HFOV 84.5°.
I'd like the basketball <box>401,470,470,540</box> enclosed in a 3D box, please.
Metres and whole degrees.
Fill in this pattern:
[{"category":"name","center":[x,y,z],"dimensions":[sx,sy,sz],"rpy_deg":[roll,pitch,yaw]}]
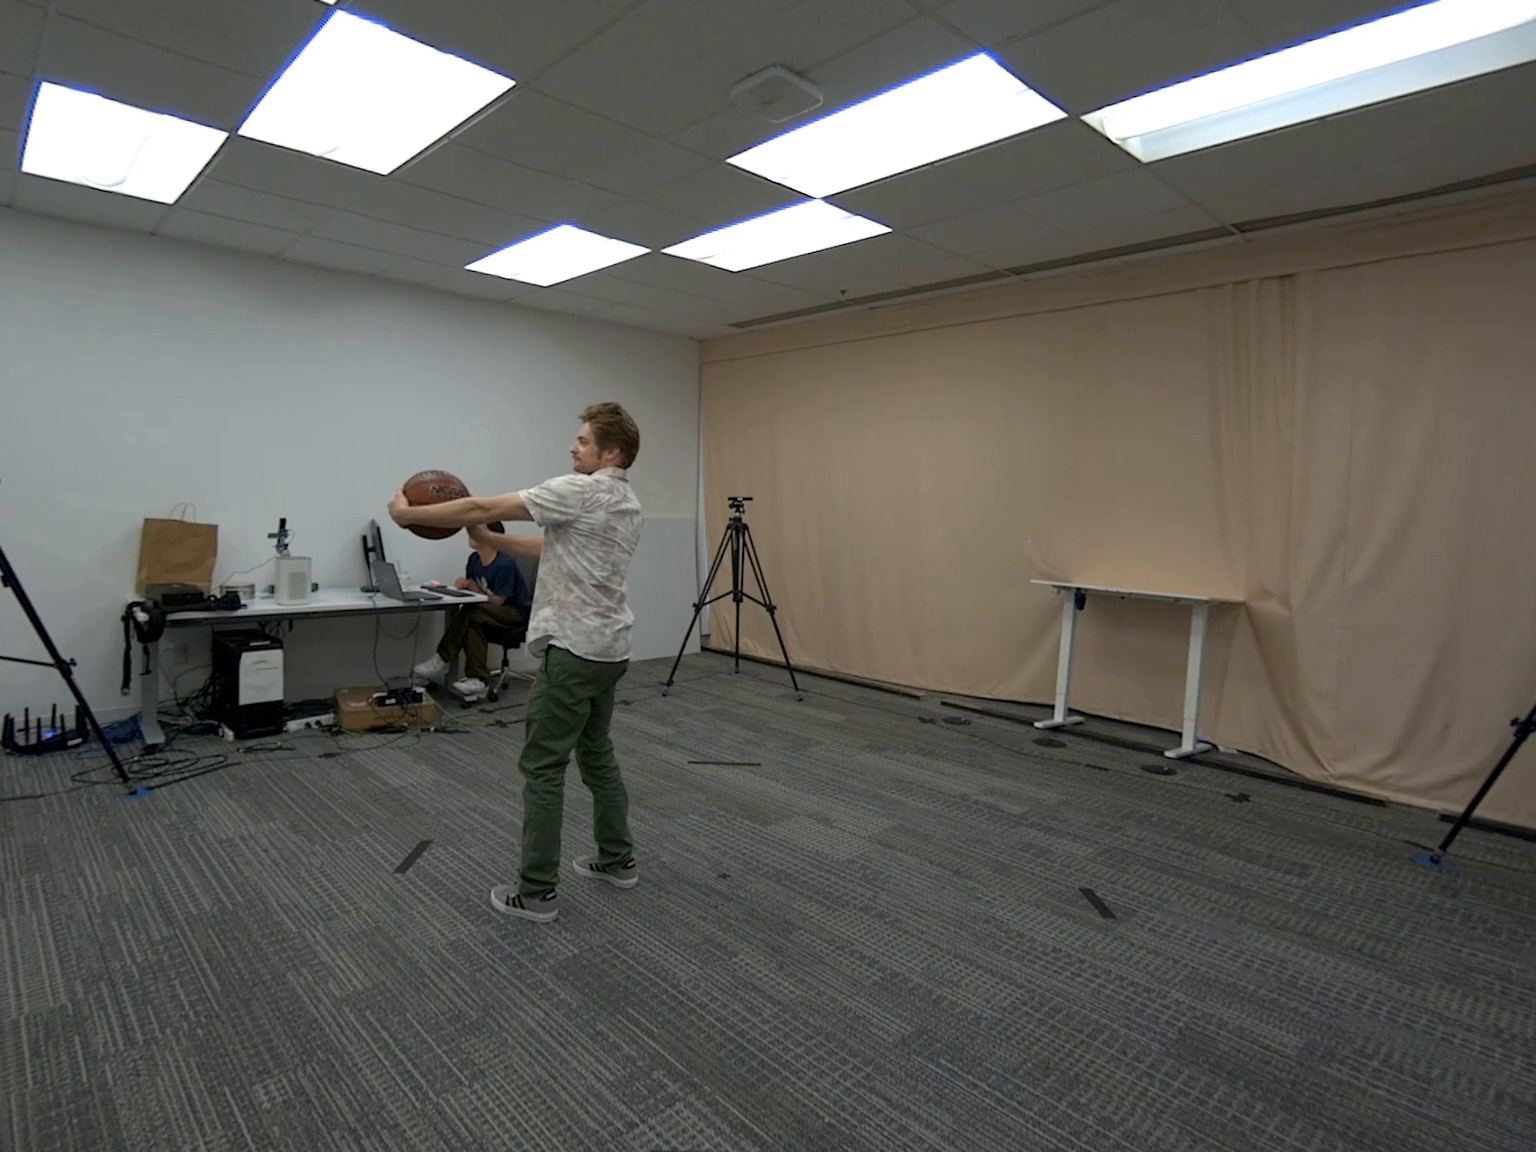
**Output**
[{"category":"basketball","center":[-1.138,-0.237,2.870],"dimensions":[0.236,0.235,0.237],"rpy_deg":[1,4,-1]}]
